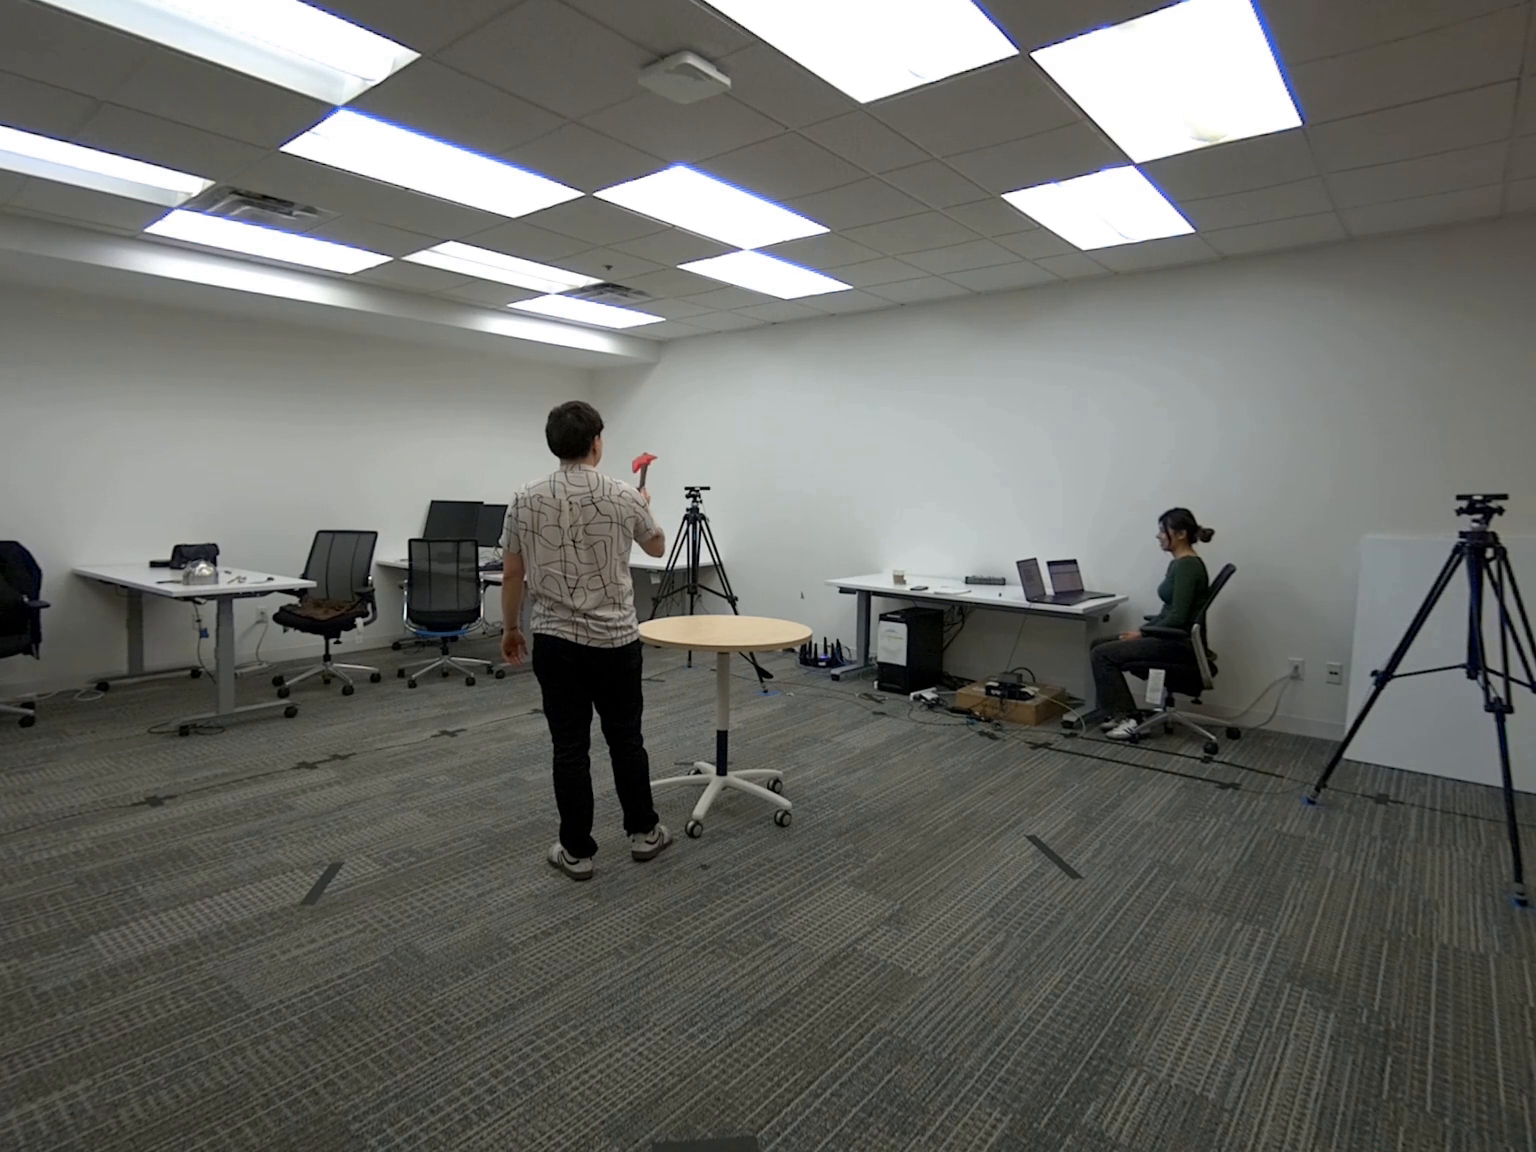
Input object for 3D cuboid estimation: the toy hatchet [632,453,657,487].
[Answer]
[{"bbox_3d":[-0.566,-0.385,3.523,0.136,0.271,0.028,14,-11,38],"label":"toy hatchet"}]
